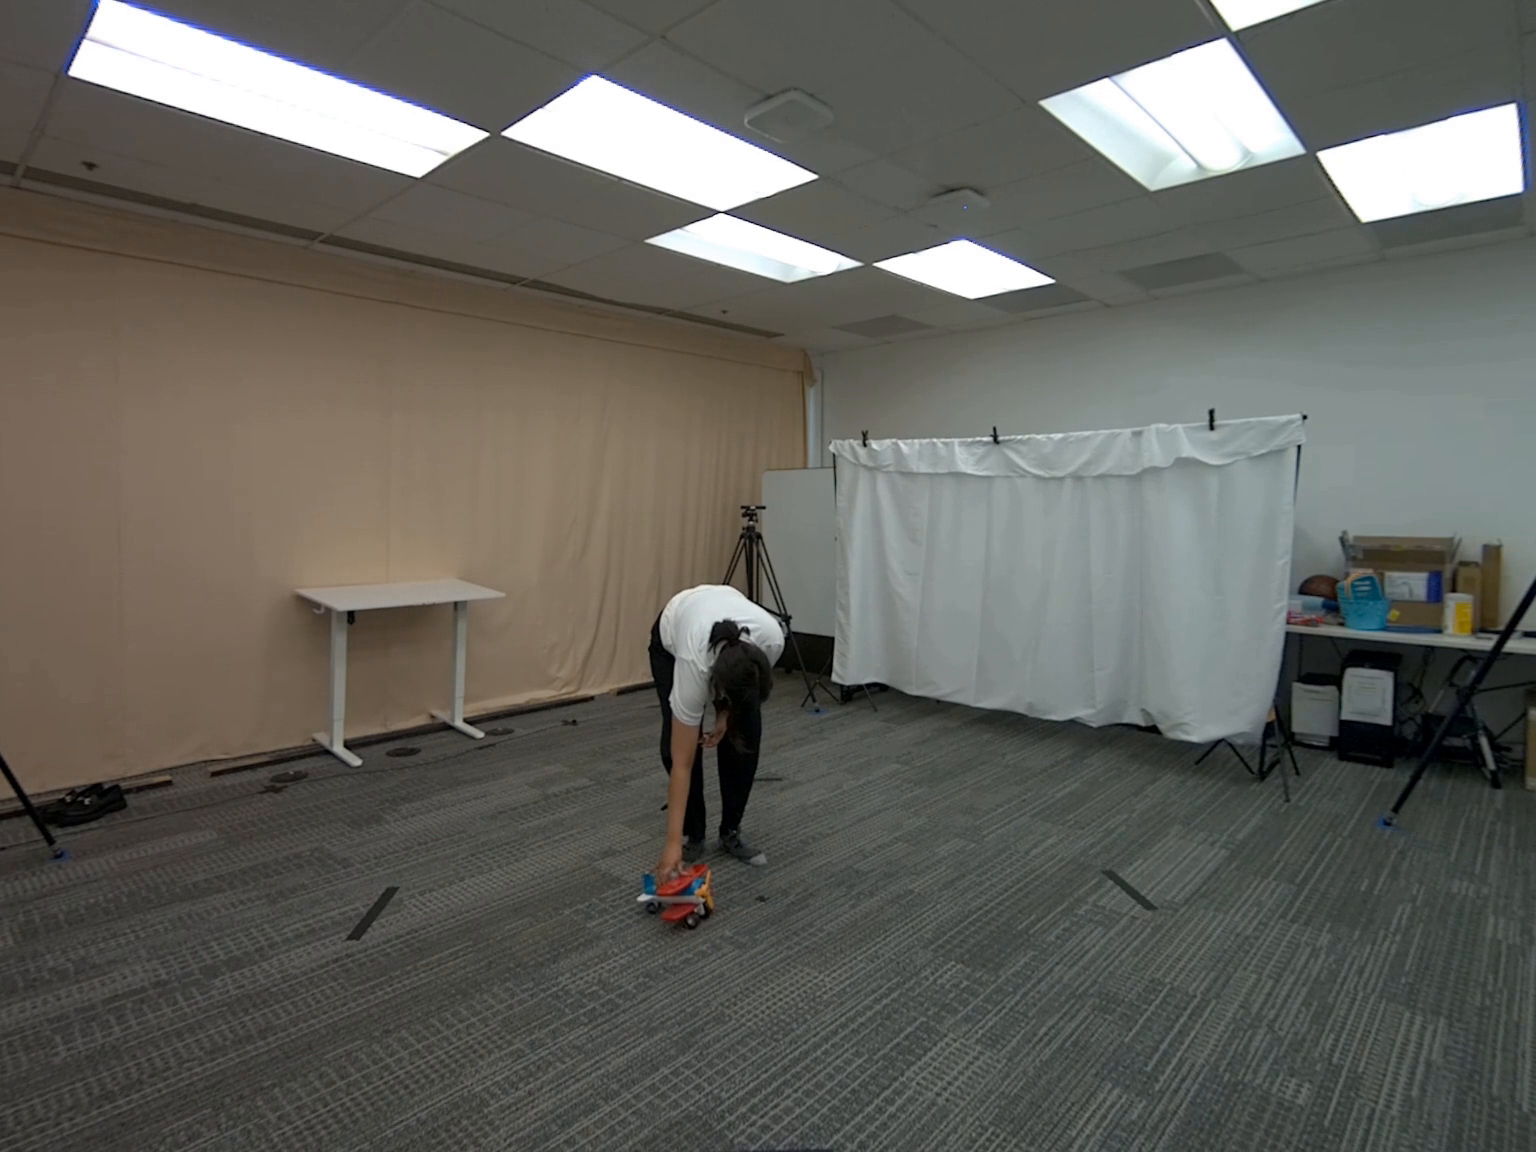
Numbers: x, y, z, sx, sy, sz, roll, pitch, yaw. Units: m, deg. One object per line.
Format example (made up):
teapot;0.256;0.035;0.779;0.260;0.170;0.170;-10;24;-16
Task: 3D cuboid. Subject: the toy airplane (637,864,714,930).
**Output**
toy airplane;-0.321;1.085;2.824;0.259;0.156;0.252;2;5;-1
